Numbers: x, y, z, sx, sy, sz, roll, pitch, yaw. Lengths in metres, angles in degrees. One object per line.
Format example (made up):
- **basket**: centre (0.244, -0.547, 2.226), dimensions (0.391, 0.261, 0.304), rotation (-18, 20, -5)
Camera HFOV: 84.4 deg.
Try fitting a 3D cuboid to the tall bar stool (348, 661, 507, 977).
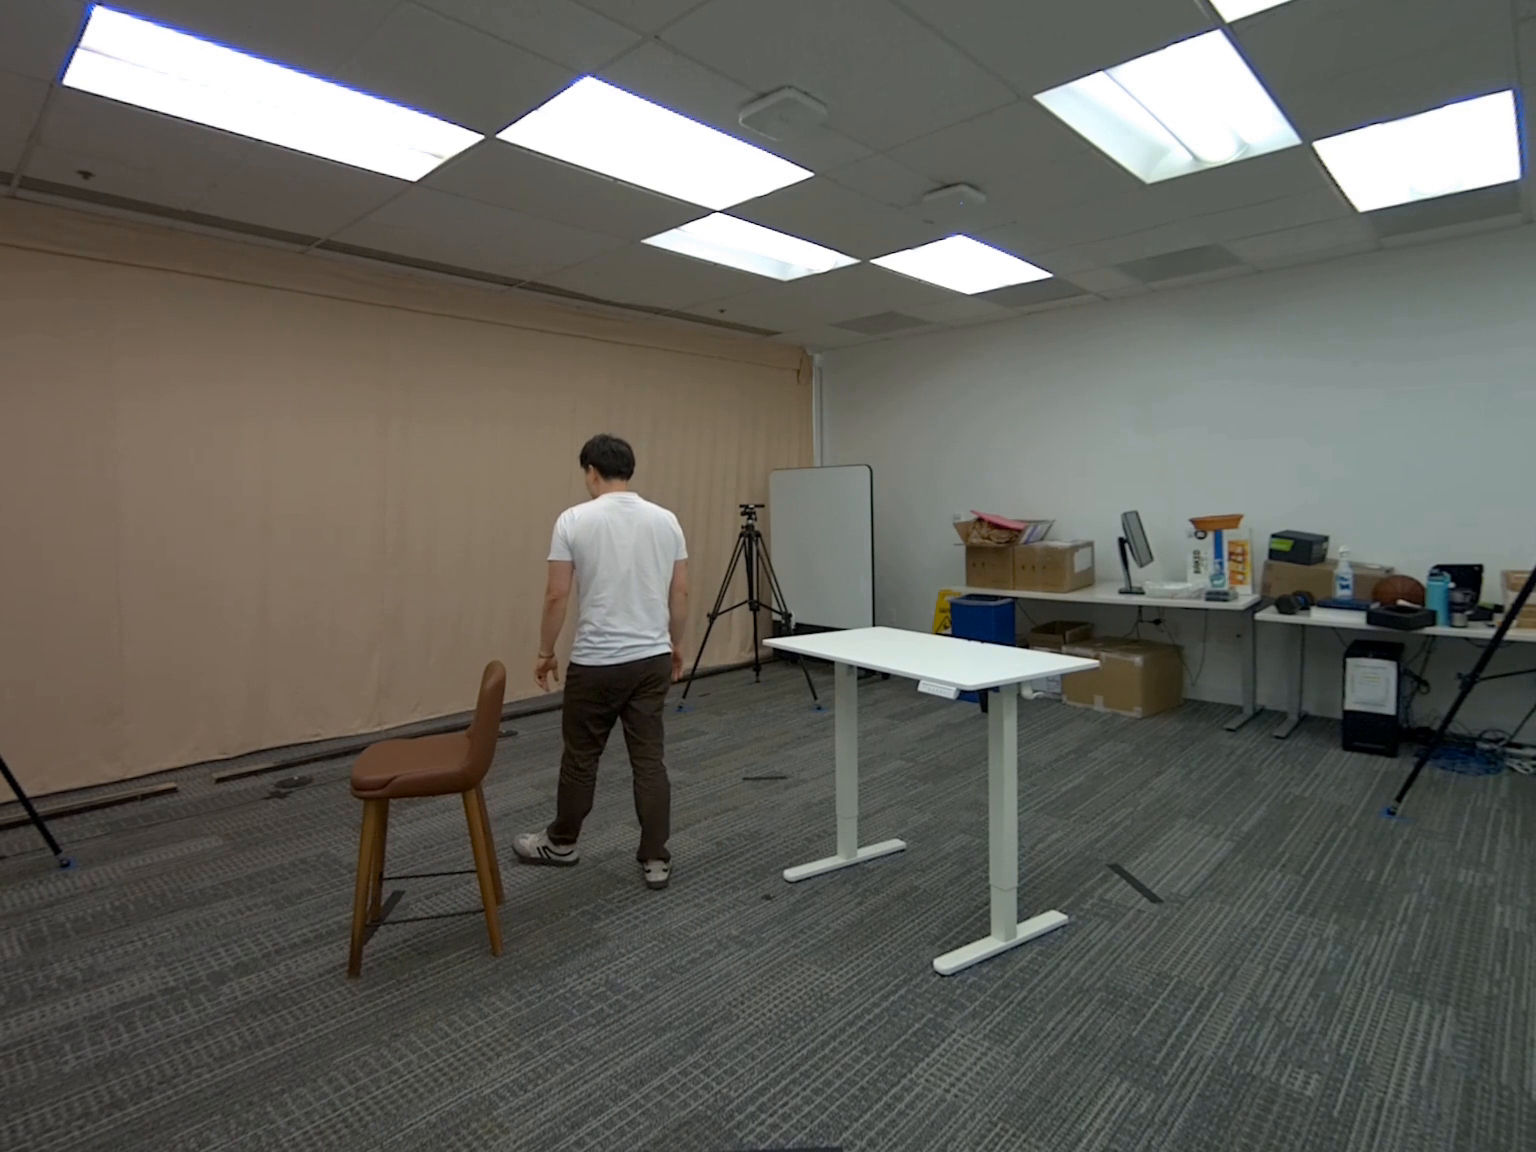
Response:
- **tall bar stool**: centre (-1.104, 0.751, 2.745), dimensions (0.460, 0.888, 0.464), rotation (0, 2, -15)
